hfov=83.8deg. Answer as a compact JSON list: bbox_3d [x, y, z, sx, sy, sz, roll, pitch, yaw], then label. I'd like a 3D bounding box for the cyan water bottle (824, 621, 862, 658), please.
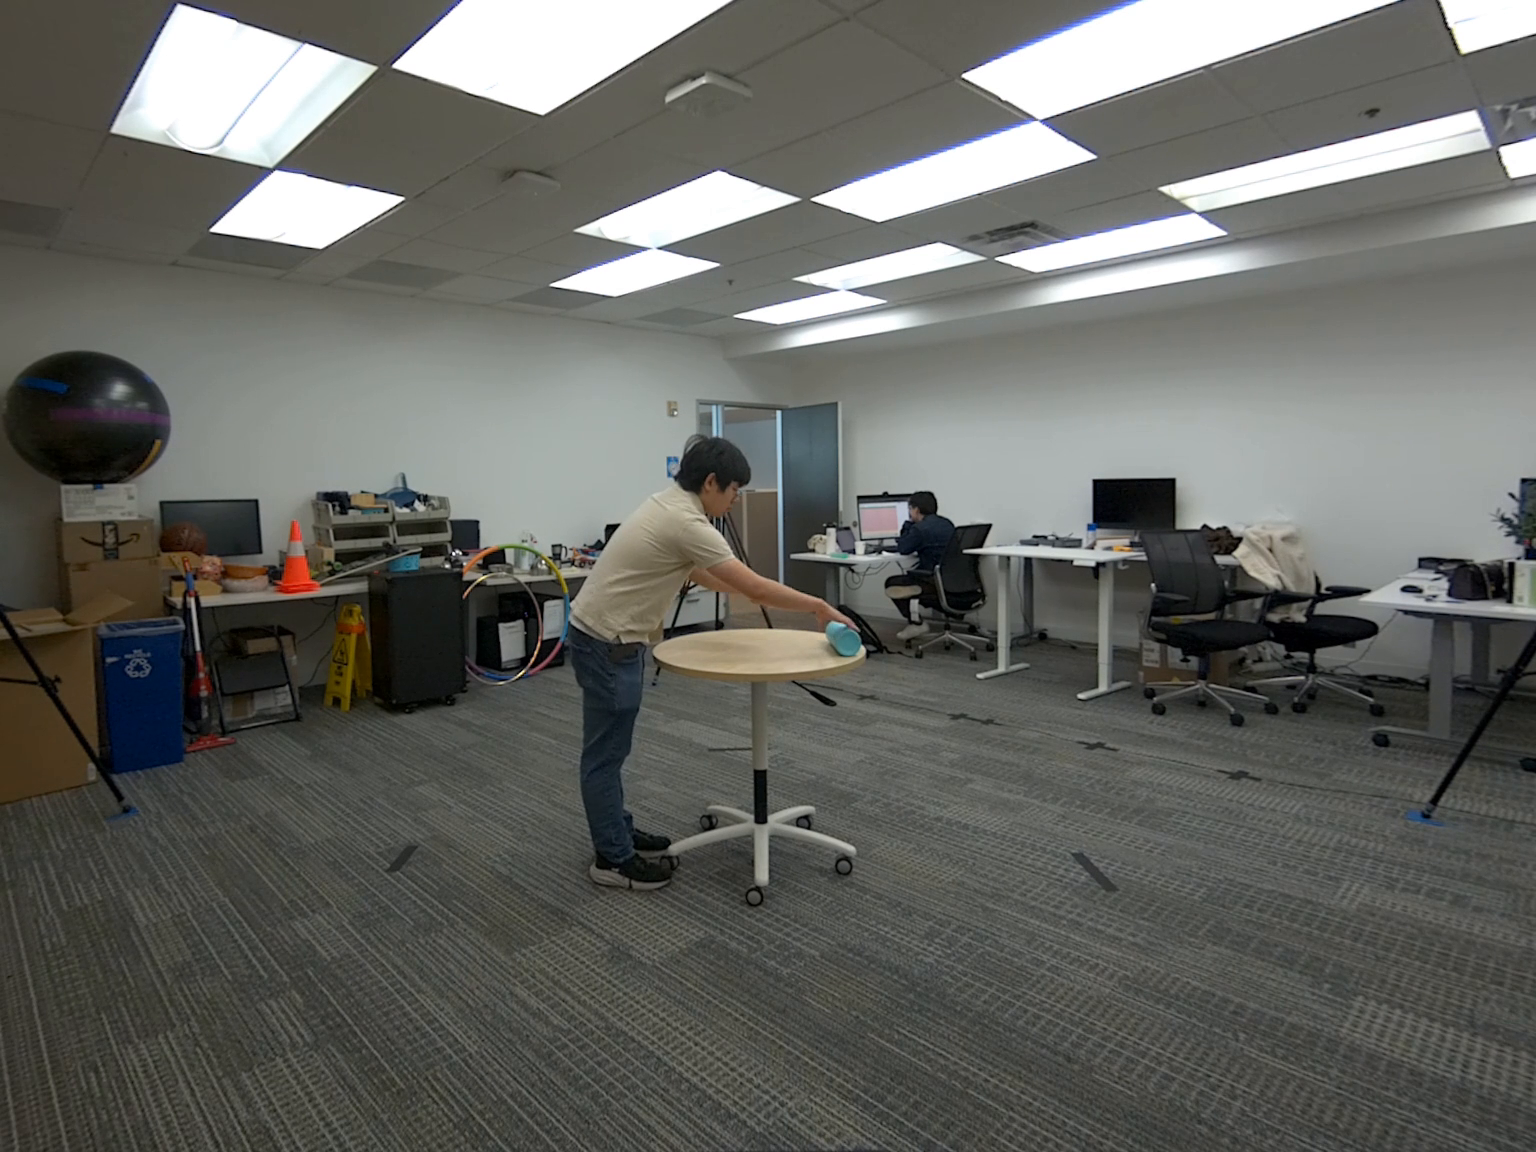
[{"bbox_3d":[0.265,0.218,3.075,0.092,0.092,0.286,-1,7,-6],"label":"cyan water bottle"}]
